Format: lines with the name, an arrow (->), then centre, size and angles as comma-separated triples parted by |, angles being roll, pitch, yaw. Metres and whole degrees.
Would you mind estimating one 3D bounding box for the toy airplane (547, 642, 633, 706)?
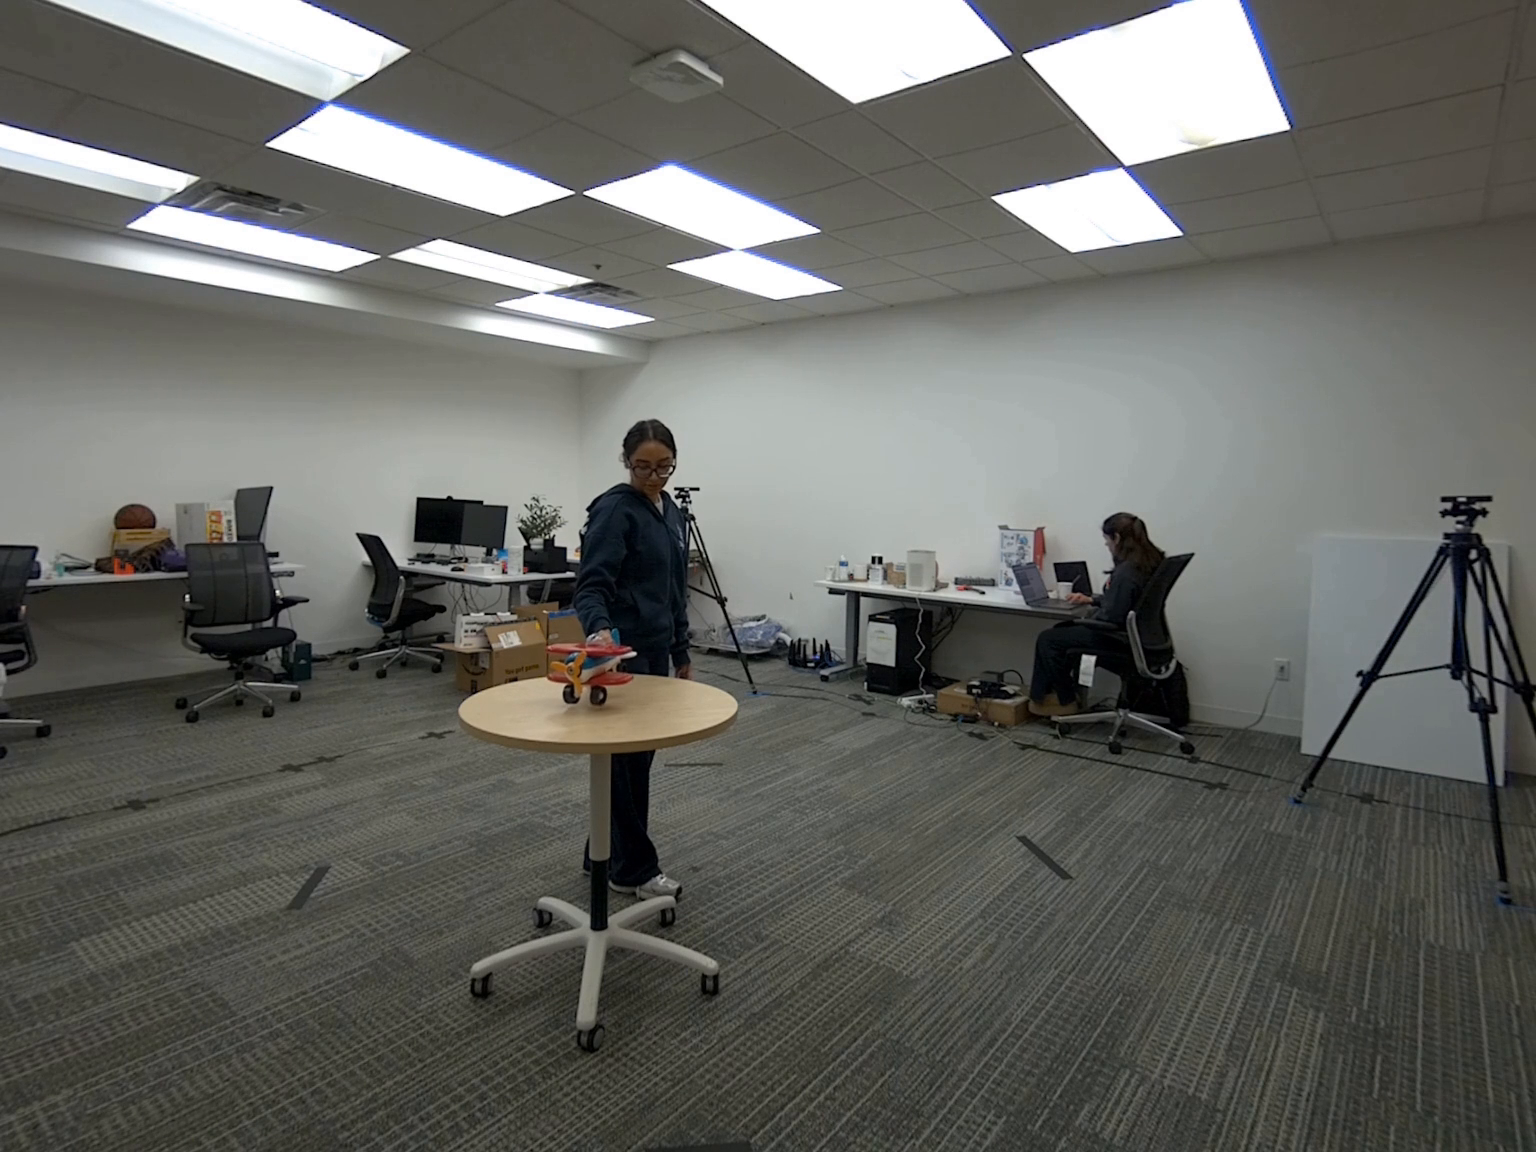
toy airplane -> -0.507, 0.243, 2.380 | 0.250, 0.153, 0.265 | -10, 19, -5
